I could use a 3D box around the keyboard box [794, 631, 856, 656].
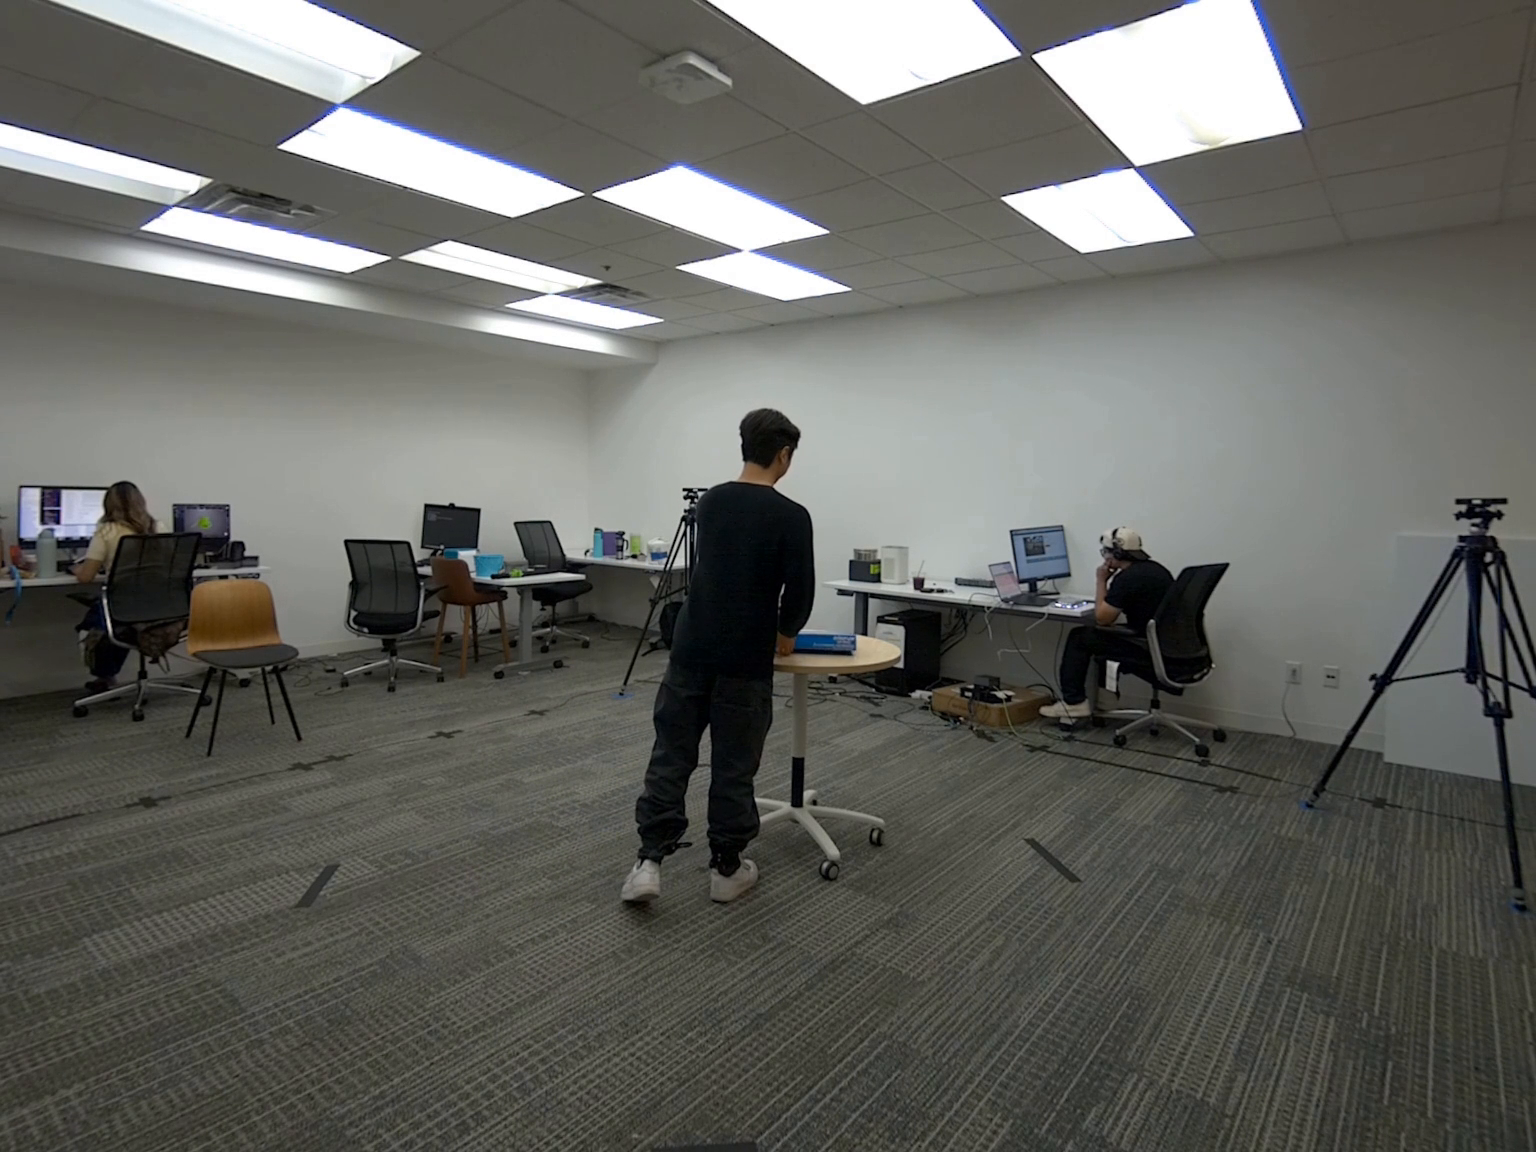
[{"bbox_3d":[0.104,0.240,3.250,0.438,0.059,0.175,1,0,2],"label":"keyboard box"}]
